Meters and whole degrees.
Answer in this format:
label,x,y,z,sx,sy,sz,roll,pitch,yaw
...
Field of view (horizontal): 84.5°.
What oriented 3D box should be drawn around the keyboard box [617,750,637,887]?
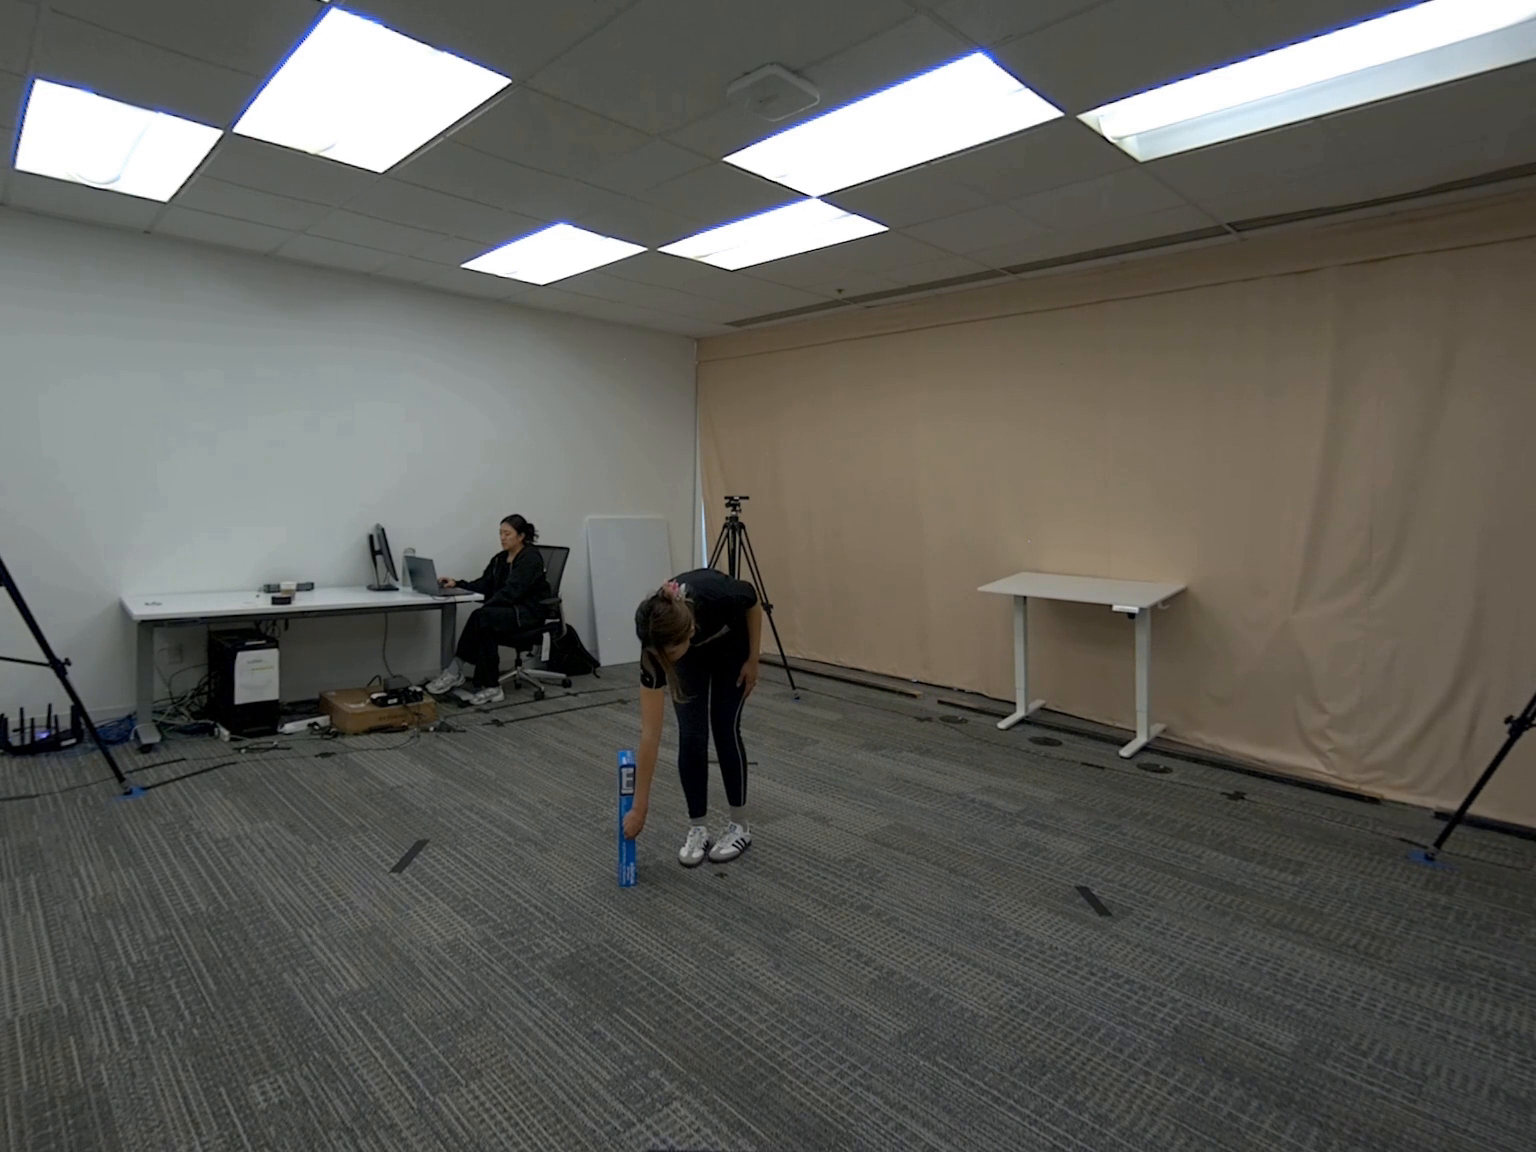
label,x,y,z,sx,sy,sz,roll,pitch,yaw
keyboard box,-0.526,0.882,3.069,0.058,0.435,0.178,-1,4,-11
